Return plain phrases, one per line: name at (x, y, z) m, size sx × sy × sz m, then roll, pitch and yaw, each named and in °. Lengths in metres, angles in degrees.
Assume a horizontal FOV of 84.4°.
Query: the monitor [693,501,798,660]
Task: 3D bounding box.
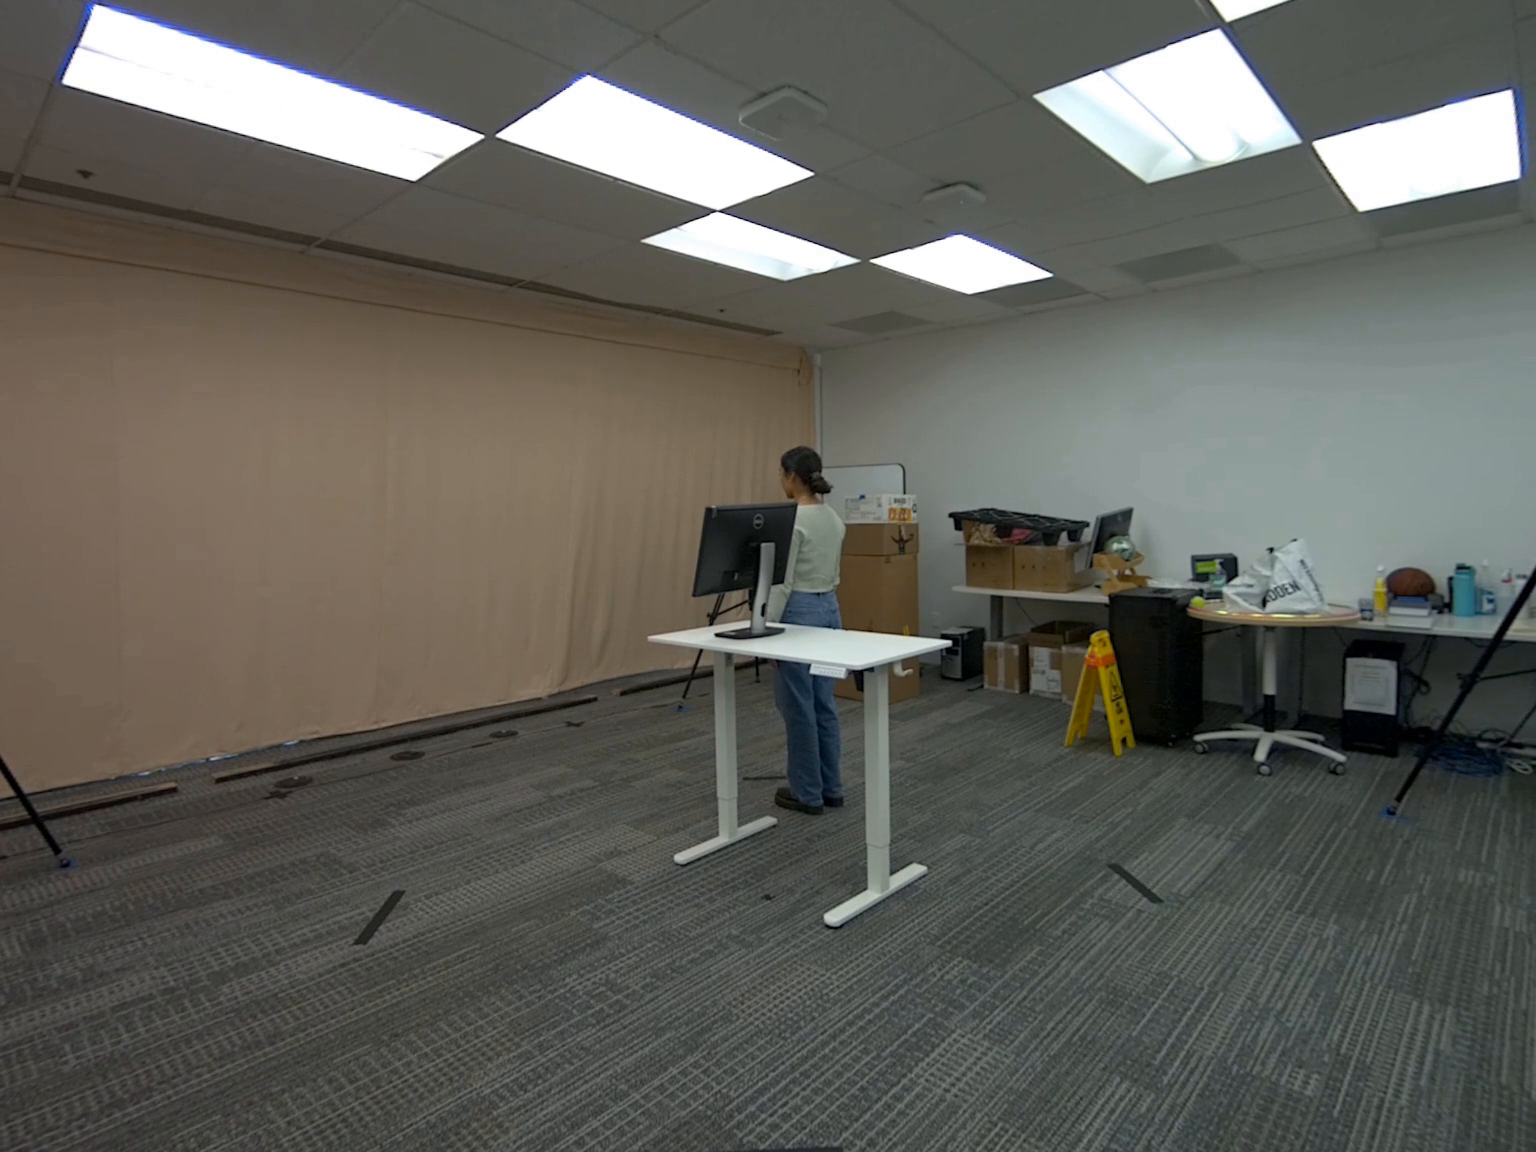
monitor at (-0.052, -0.017, 3.296) m, size 0.193 × 0.521 × 0.523 m, roll 5°, pitch 8°, yaw 42°
